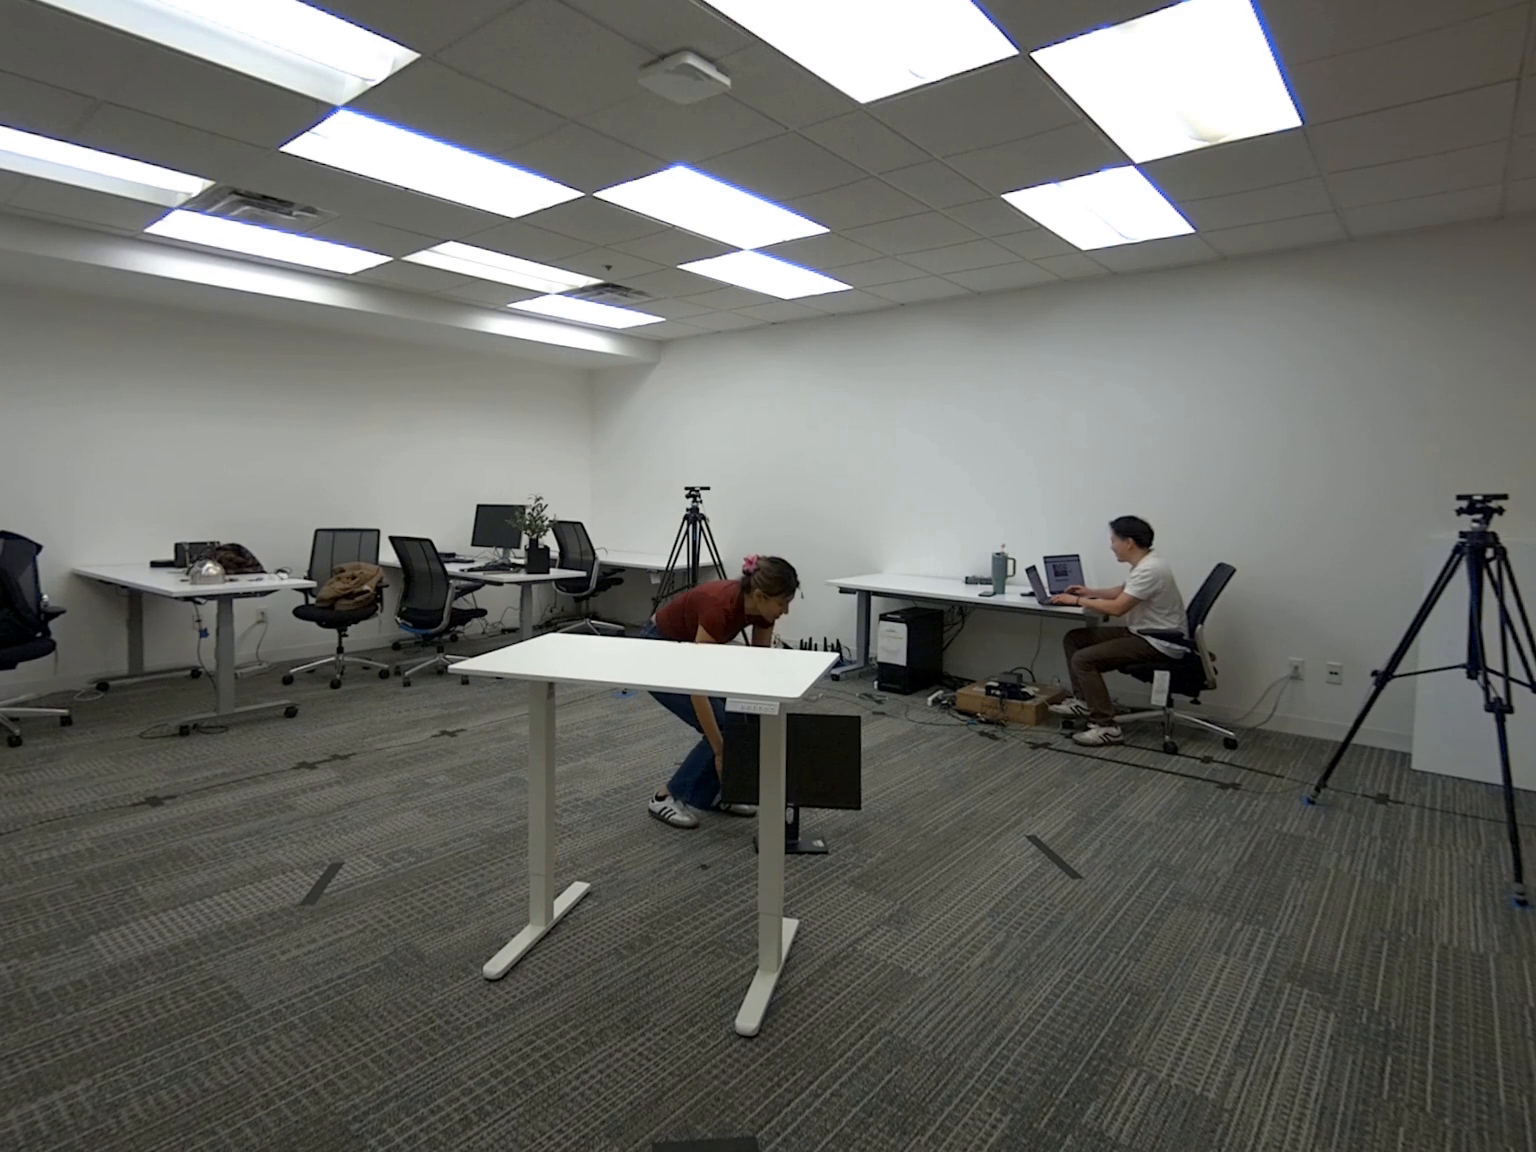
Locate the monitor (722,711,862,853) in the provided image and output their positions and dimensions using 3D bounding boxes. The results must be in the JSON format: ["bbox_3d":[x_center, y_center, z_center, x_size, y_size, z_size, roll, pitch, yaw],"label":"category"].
[{"bbox_3d":[0.085,0.799,3.327,0.541,0.523,0.186,0,0,3],"label":"monitor"}]
